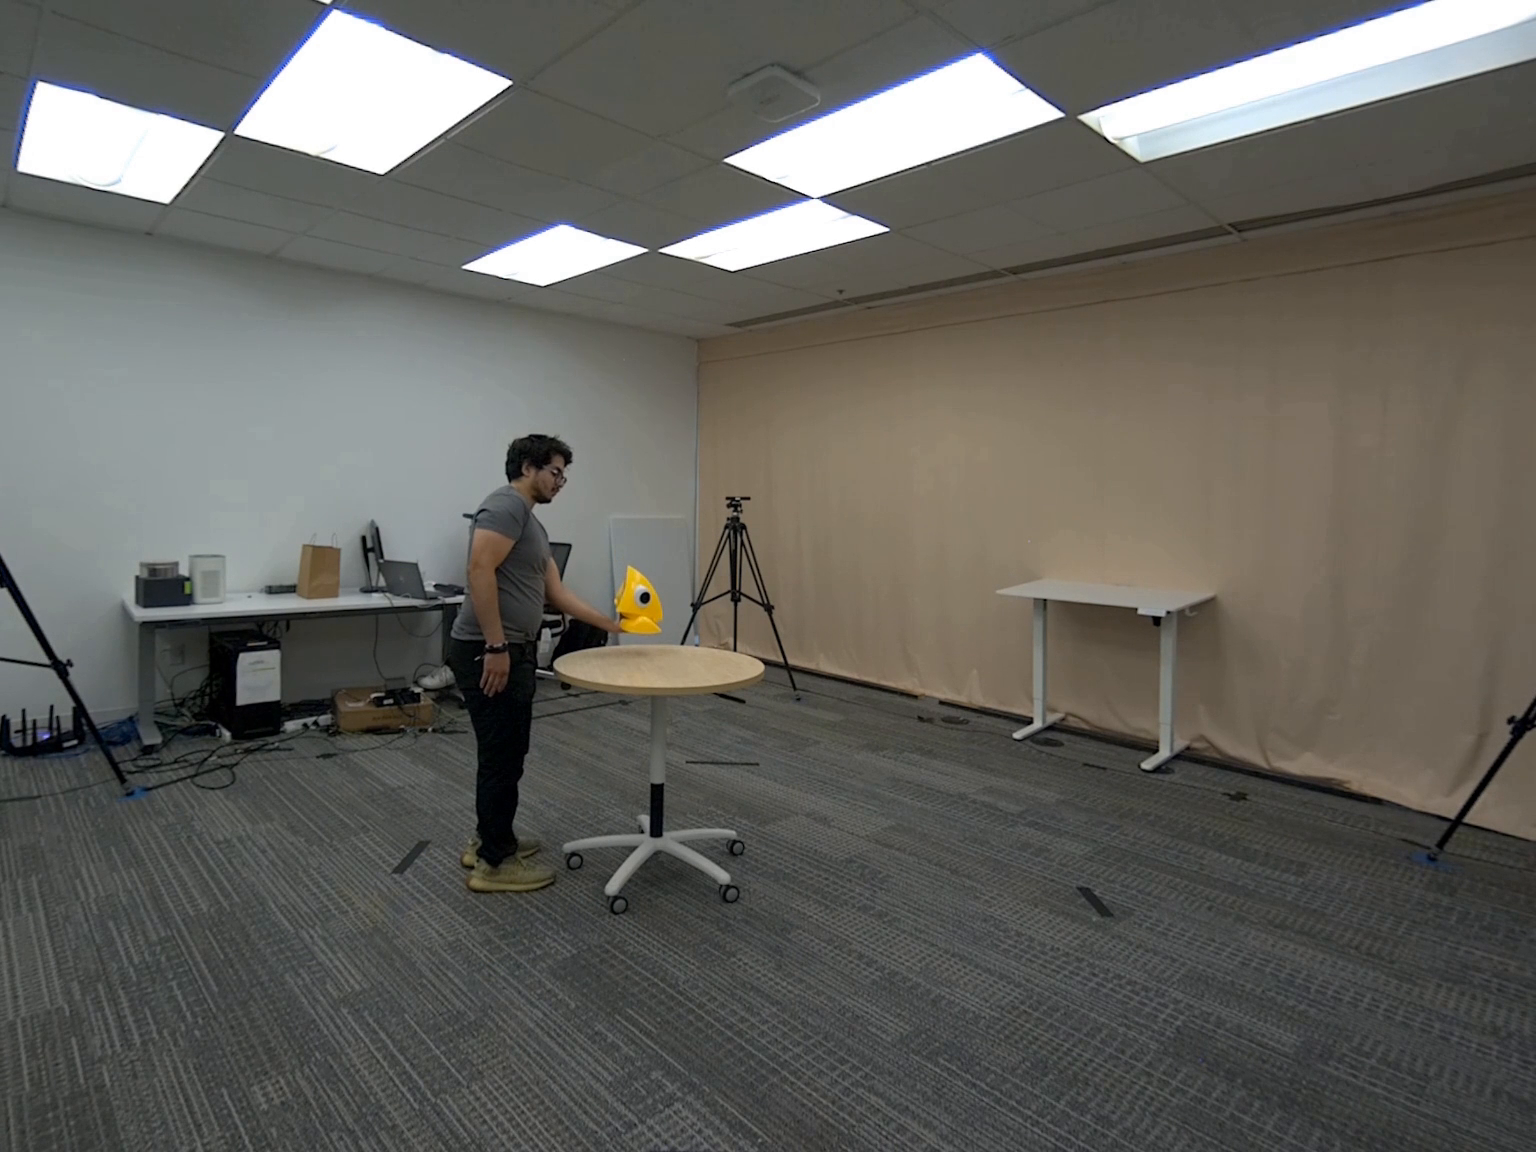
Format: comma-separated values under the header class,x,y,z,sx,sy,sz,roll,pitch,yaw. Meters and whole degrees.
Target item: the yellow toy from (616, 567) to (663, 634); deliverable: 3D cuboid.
class,x,y,z,sx,sy,sz,roll,pitch,yaw
yellow toy,-0.500,0.075,3.237,0.191,0.229,0.208,6,14,-11
